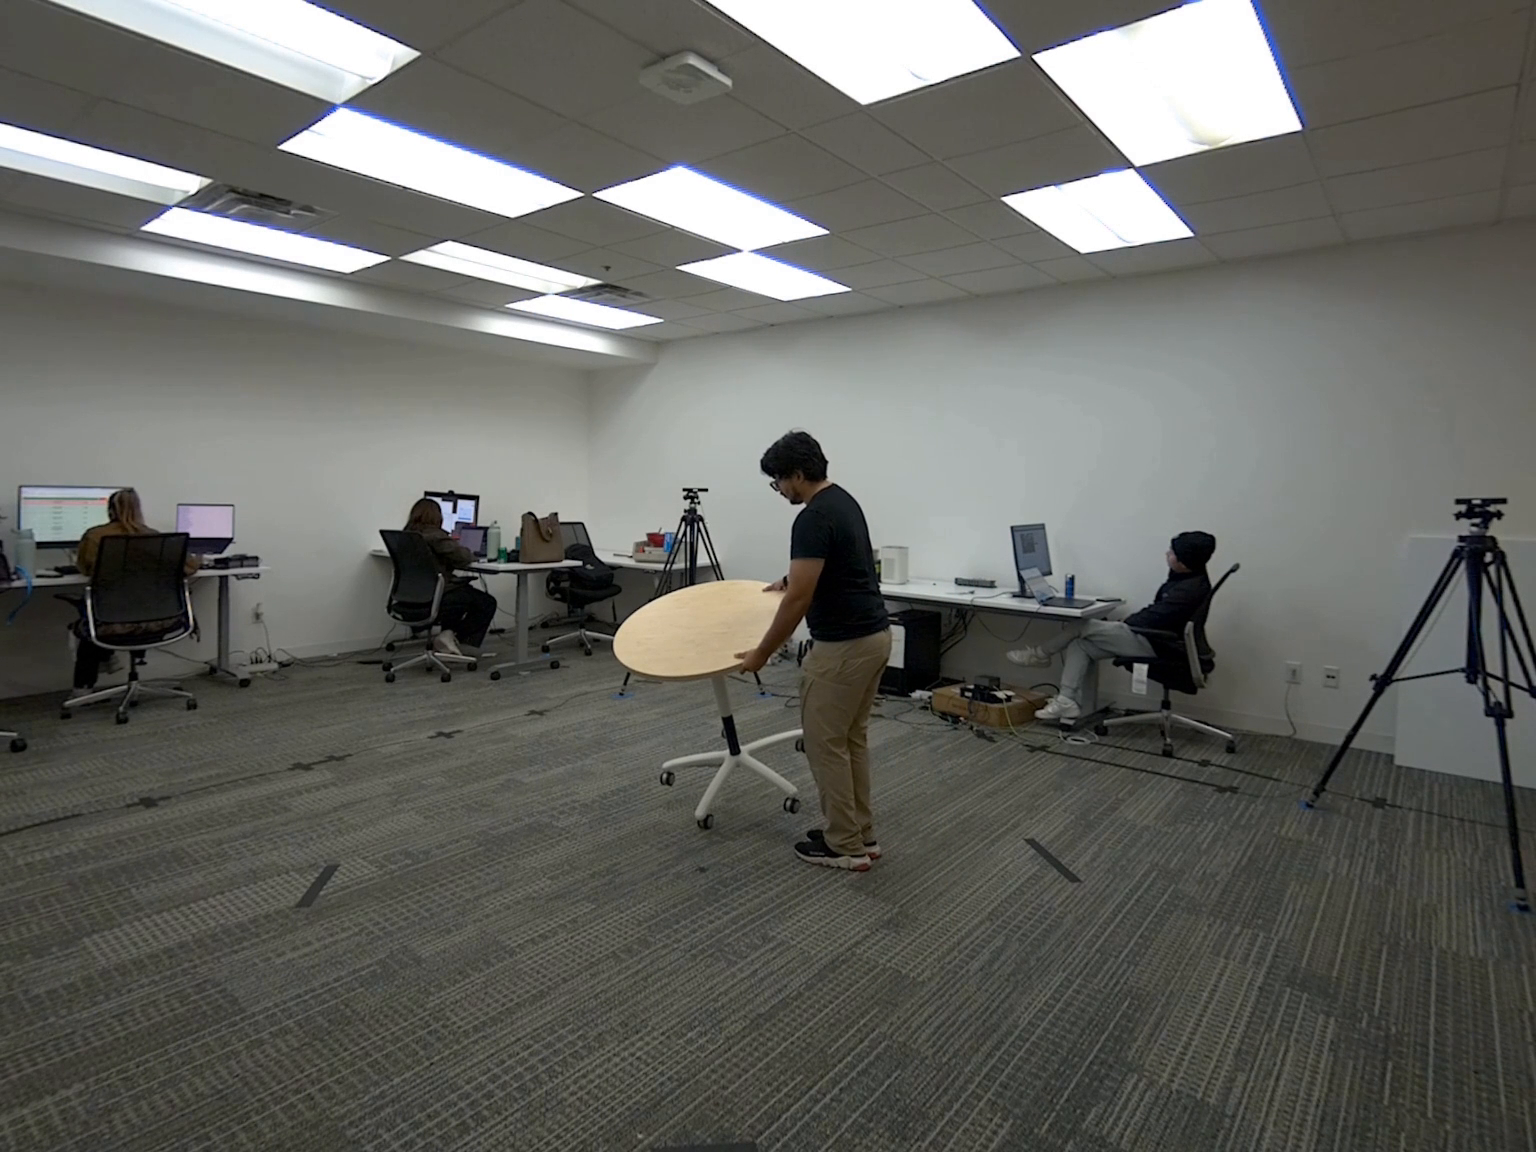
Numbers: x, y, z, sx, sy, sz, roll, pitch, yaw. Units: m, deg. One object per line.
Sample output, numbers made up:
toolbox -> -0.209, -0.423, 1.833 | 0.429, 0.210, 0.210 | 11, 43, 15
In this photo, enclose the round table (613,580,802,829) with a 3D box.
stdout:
round table -> -0.195, 0.533, 3.618 | 0.787, 0.767, 0.802 | -10, 23, 3
